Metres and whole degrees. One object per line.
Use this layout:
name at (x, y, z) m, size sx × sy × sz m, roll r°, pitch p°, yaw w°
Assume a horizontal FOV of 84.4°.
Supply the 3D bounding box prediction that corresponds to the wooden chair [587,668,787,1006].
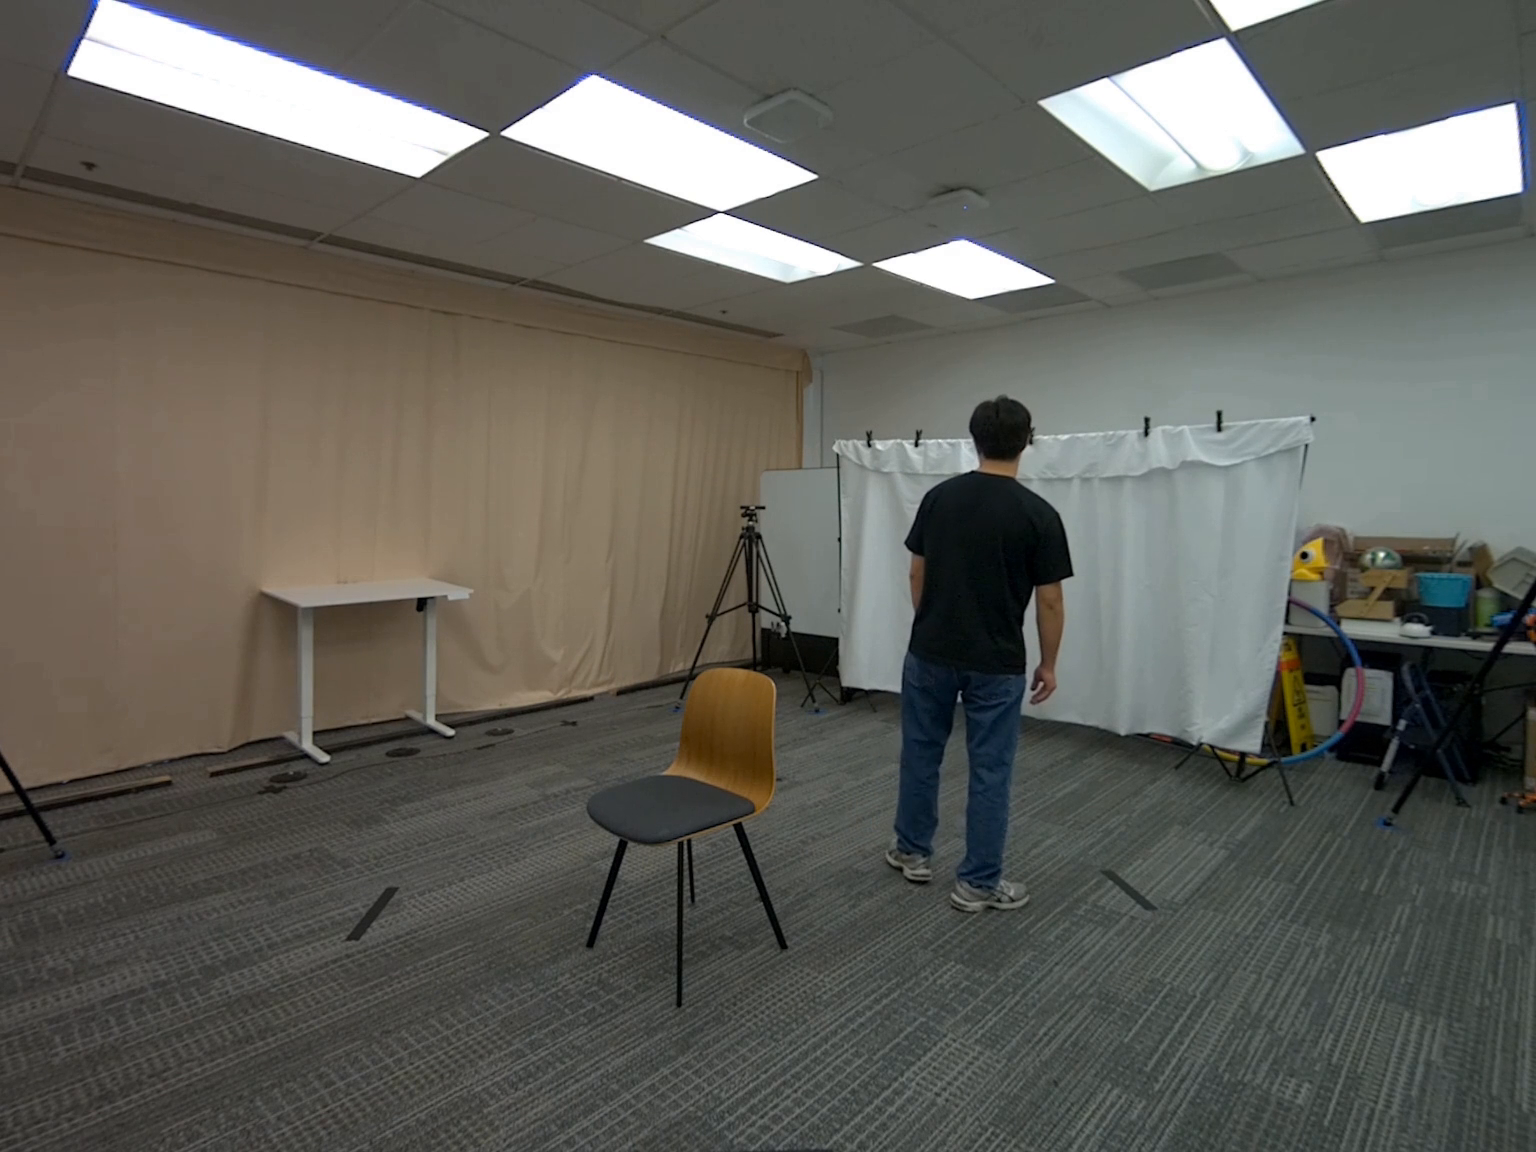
wooden chair at (-0.257, 0.747, 2.617) m, size 0.494 × 0.877 × 0.506 m, roll 3°, pitch 1°, yaw 45°
